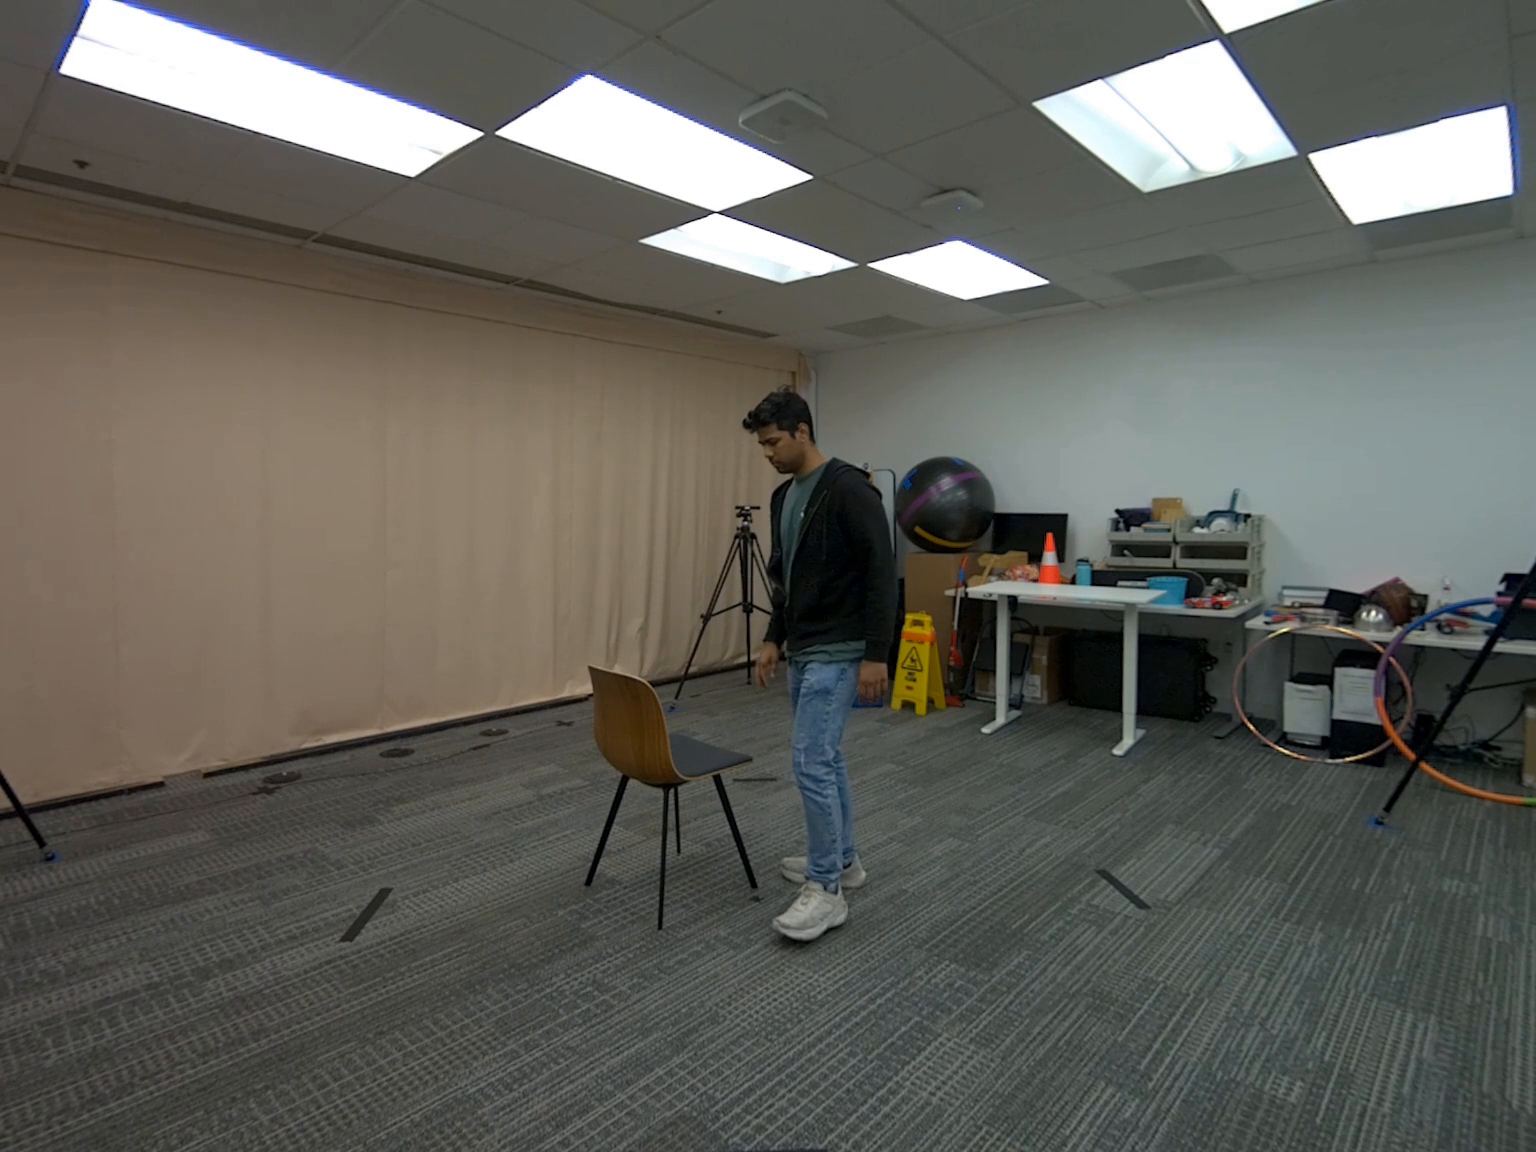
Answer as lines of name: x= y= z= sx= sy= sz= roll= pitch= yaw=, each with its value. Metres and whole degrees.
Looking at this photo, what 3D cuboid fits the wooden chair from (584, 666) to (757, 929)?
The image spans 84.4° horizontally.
wooden chair: x=-0.349 y=0.716 z=3.057 sx=0.508 sy=0.874 sz=0.494 roll=-9 pitch=8 yaw=-43
